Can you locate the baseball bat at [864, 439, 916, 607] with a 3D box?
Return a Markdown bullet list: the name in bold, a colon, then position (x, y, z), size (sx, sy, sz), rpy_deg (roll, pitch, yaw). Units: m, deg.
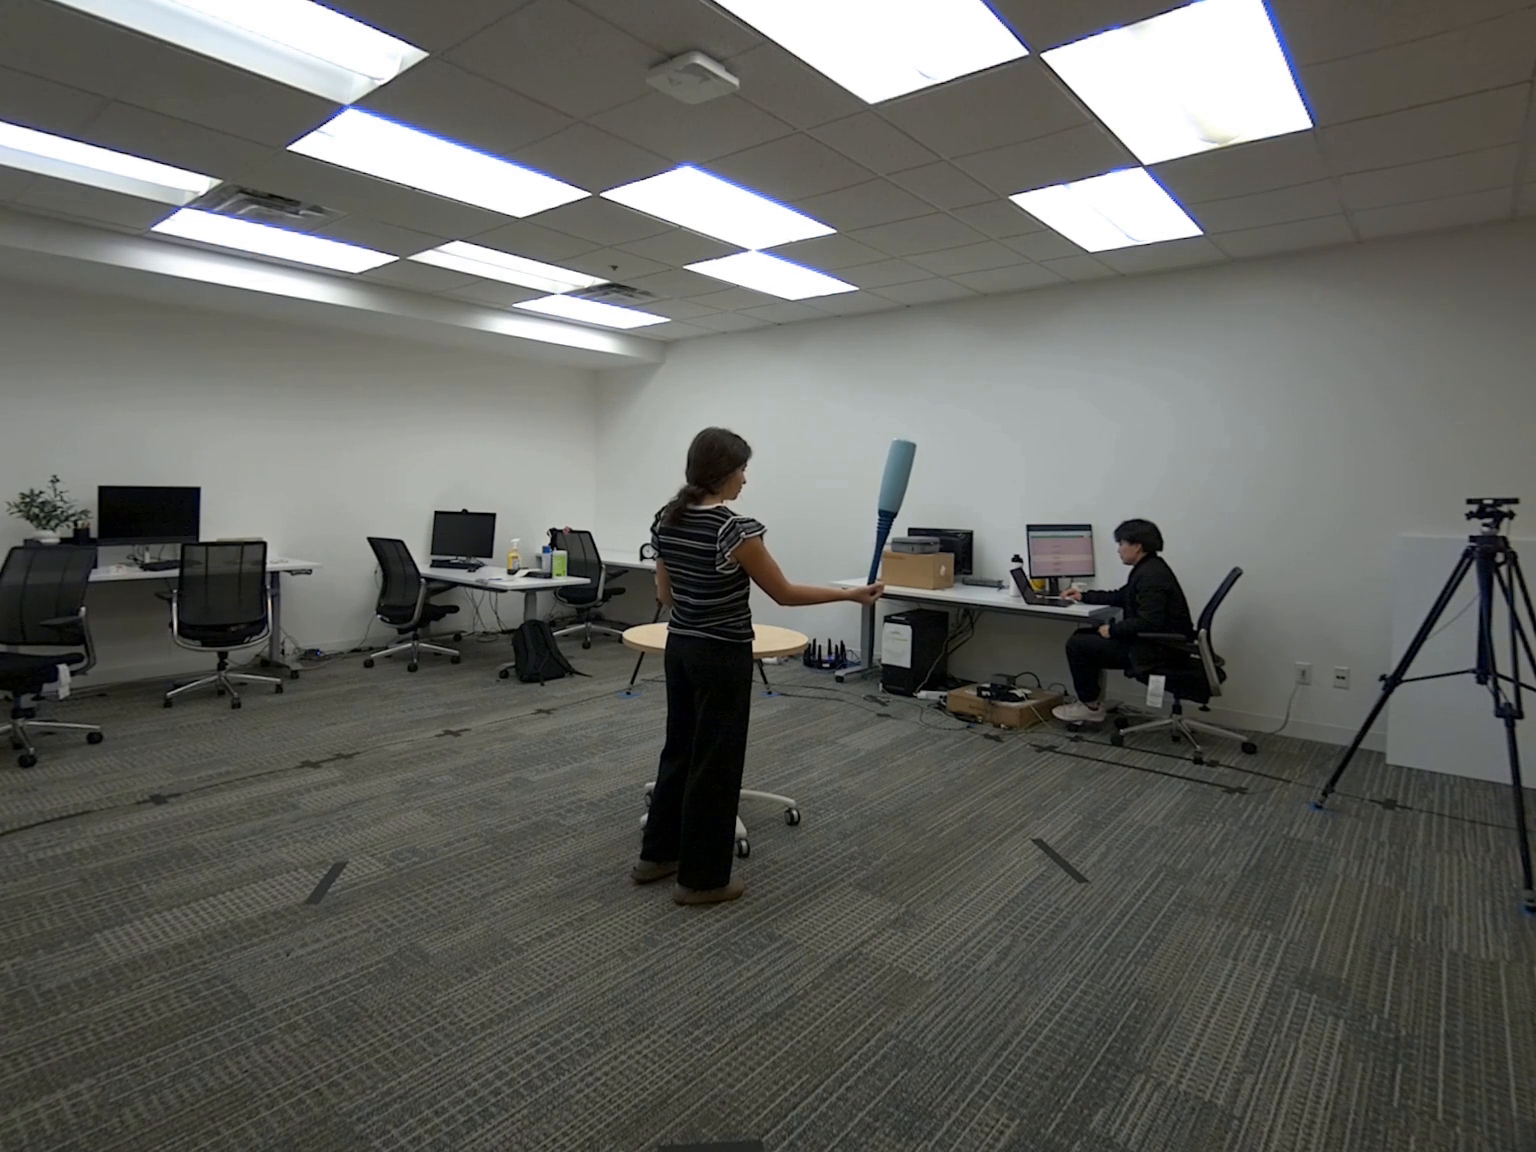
- **baseball bat**: position (0.395, -0.200, 2.883), size (0.089, 0.542, 0.089), rpy_deg (14, 1, -2)
